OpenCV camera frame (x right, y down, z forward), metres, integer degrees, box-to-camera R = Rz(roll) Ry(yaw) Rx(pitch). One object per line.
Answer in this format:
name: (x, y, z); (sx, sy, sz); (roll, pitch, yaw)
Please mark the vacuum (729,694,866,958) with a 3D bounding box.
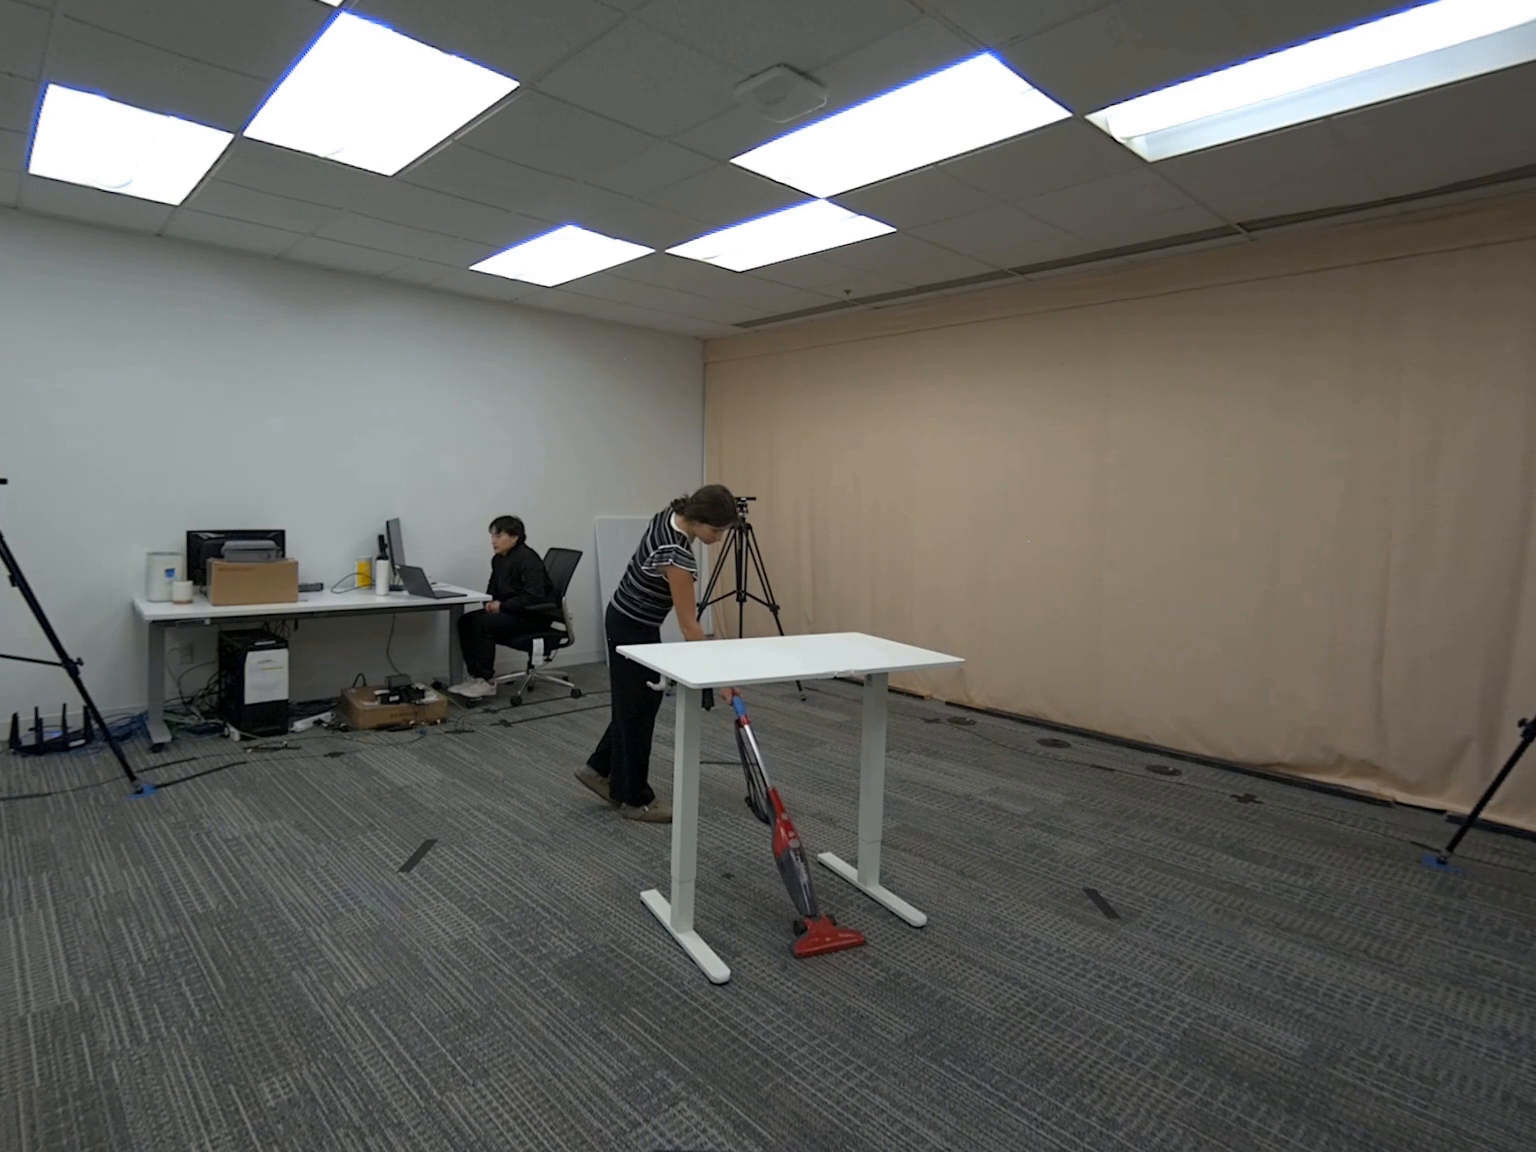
vacuum: (-0.007, 0.798, 3.053); (0.247, 0.143, 1.081); (6, 36, -28)
